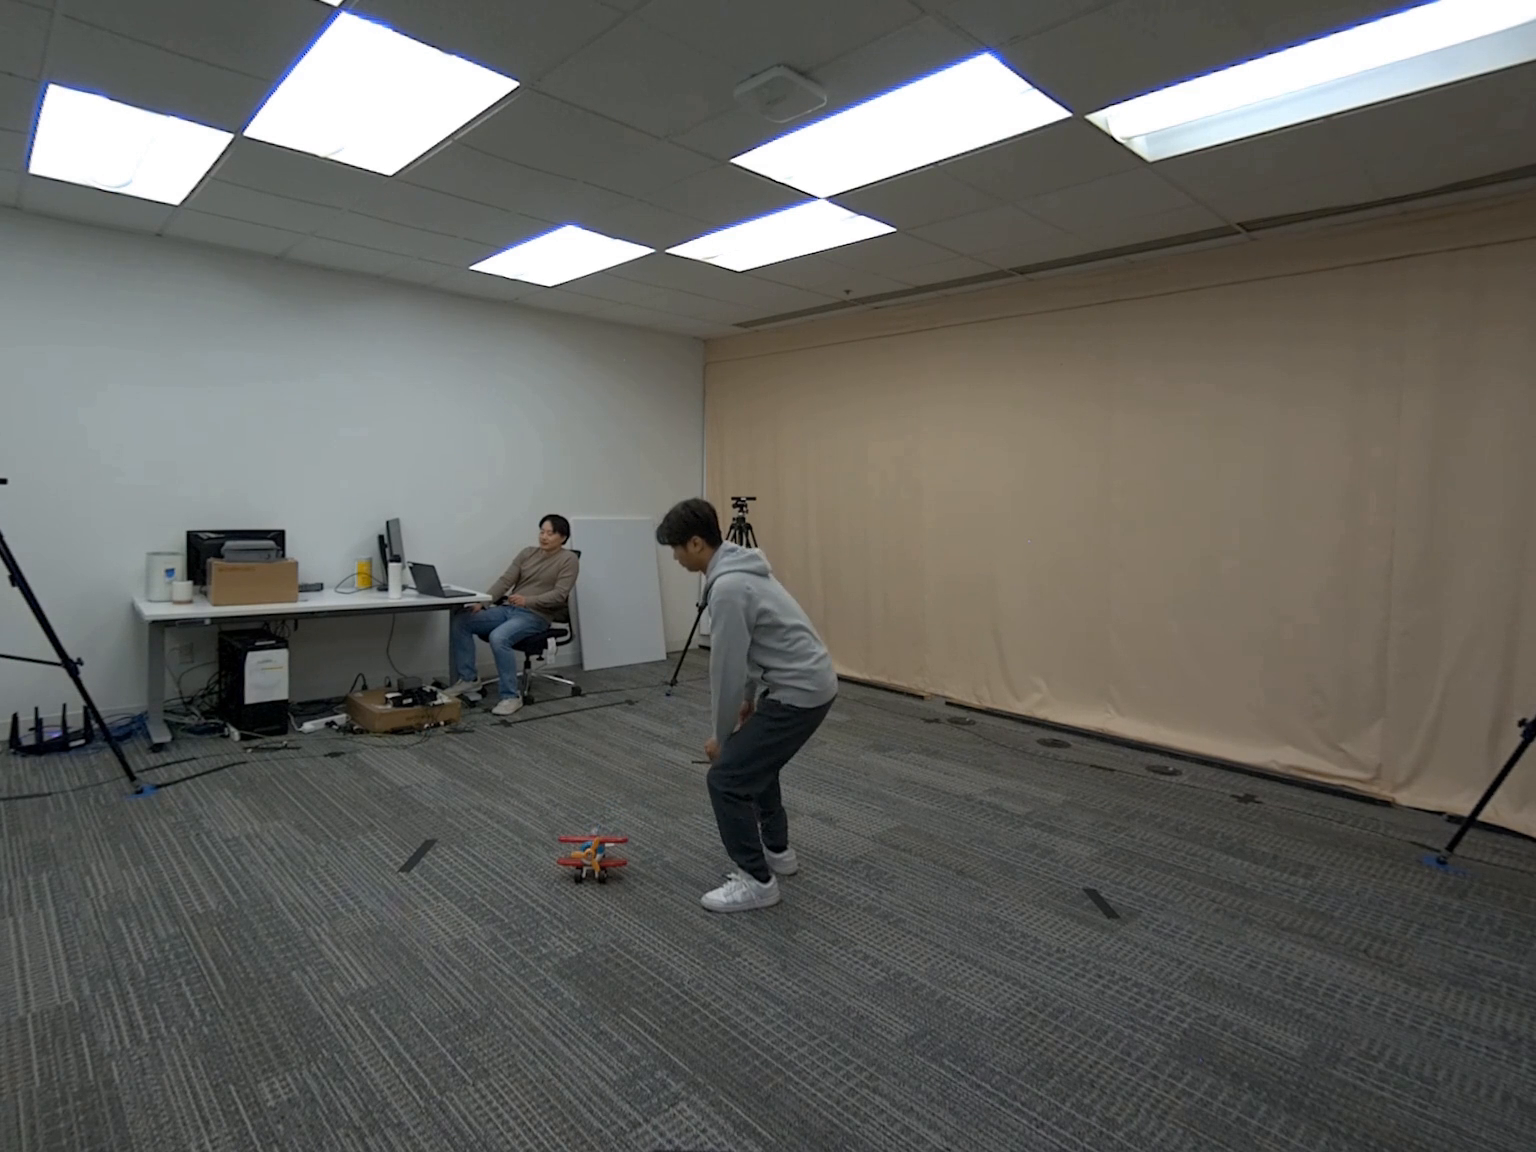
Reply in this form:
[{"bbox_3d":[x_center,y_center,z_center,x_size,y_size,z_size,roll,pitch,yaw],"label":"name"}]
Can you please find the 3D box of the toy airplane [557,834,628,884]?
[{"bbox_3d":[-0.667,1.025,3.104,0.246,0.156,0.265,-2,4,-29],"label":"toy airplane"}]
